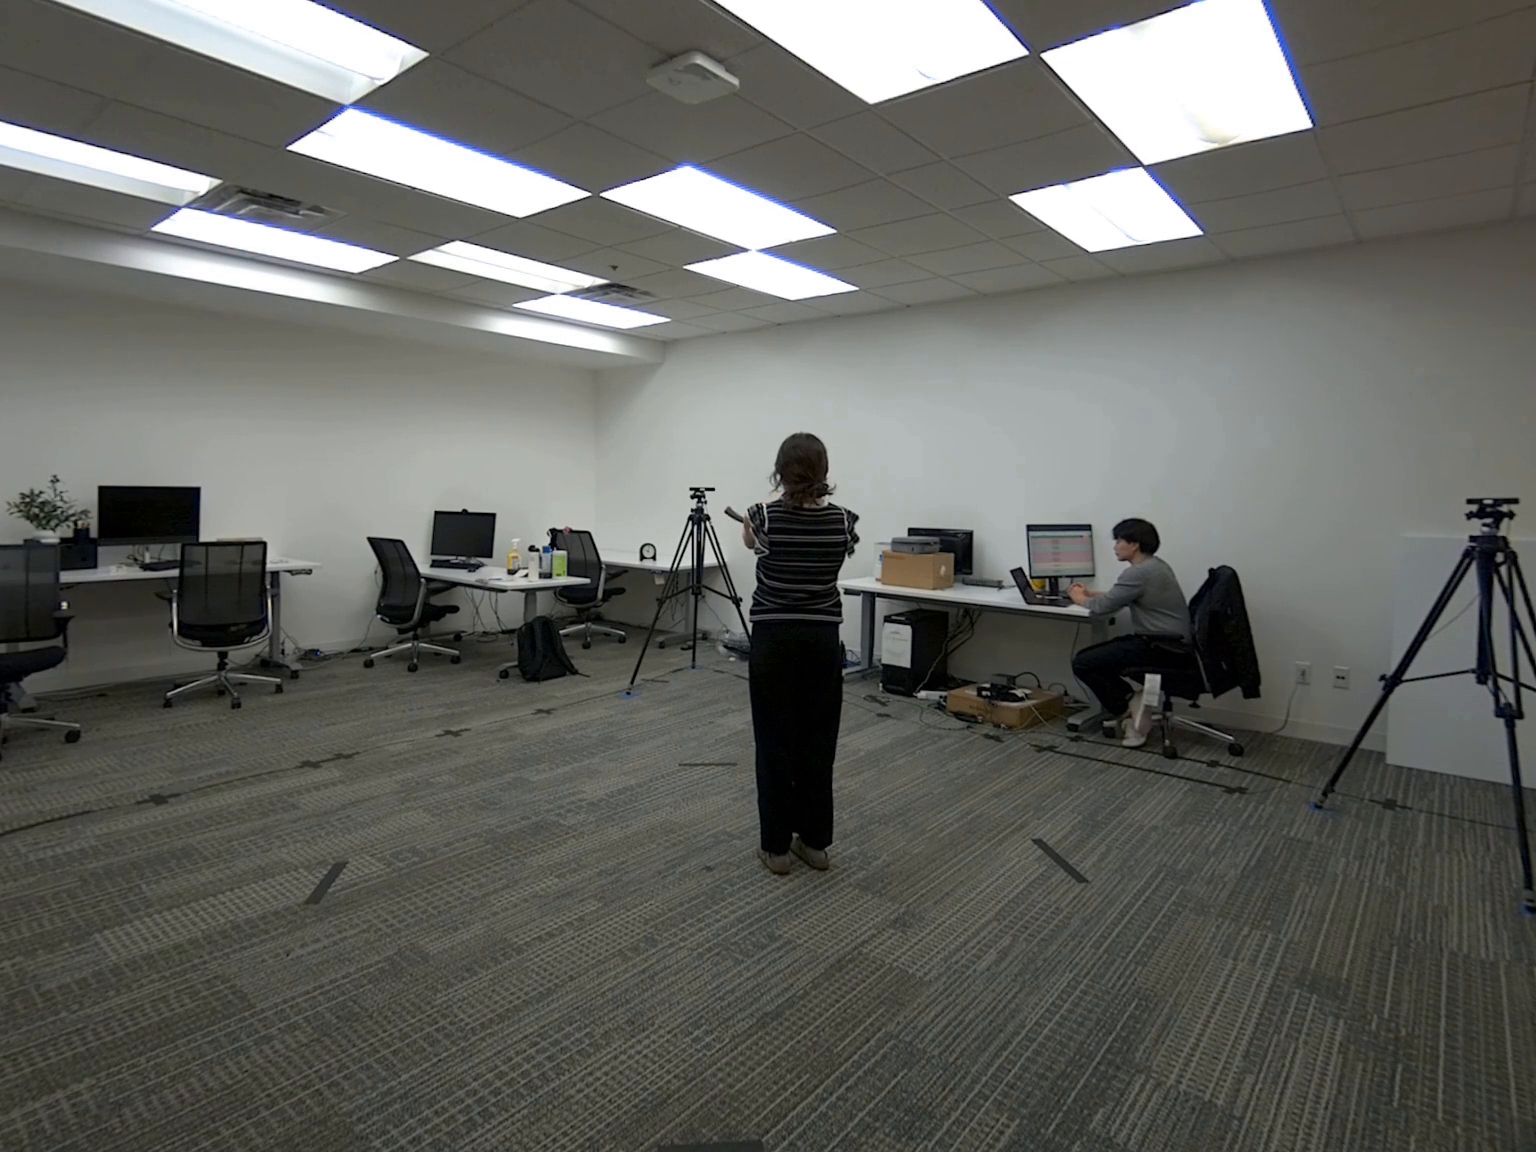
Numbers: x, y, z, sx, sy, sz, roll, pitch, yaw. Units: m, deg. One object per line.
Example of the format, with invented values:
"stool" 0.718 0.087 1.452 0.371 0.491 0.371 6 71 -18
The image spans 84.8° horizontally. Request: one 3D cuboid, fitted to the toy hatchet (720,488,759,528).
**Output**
"toy hatchet" -0.069 -0.262 3.687 0.265 0.133 0.030 31 -32 -15
